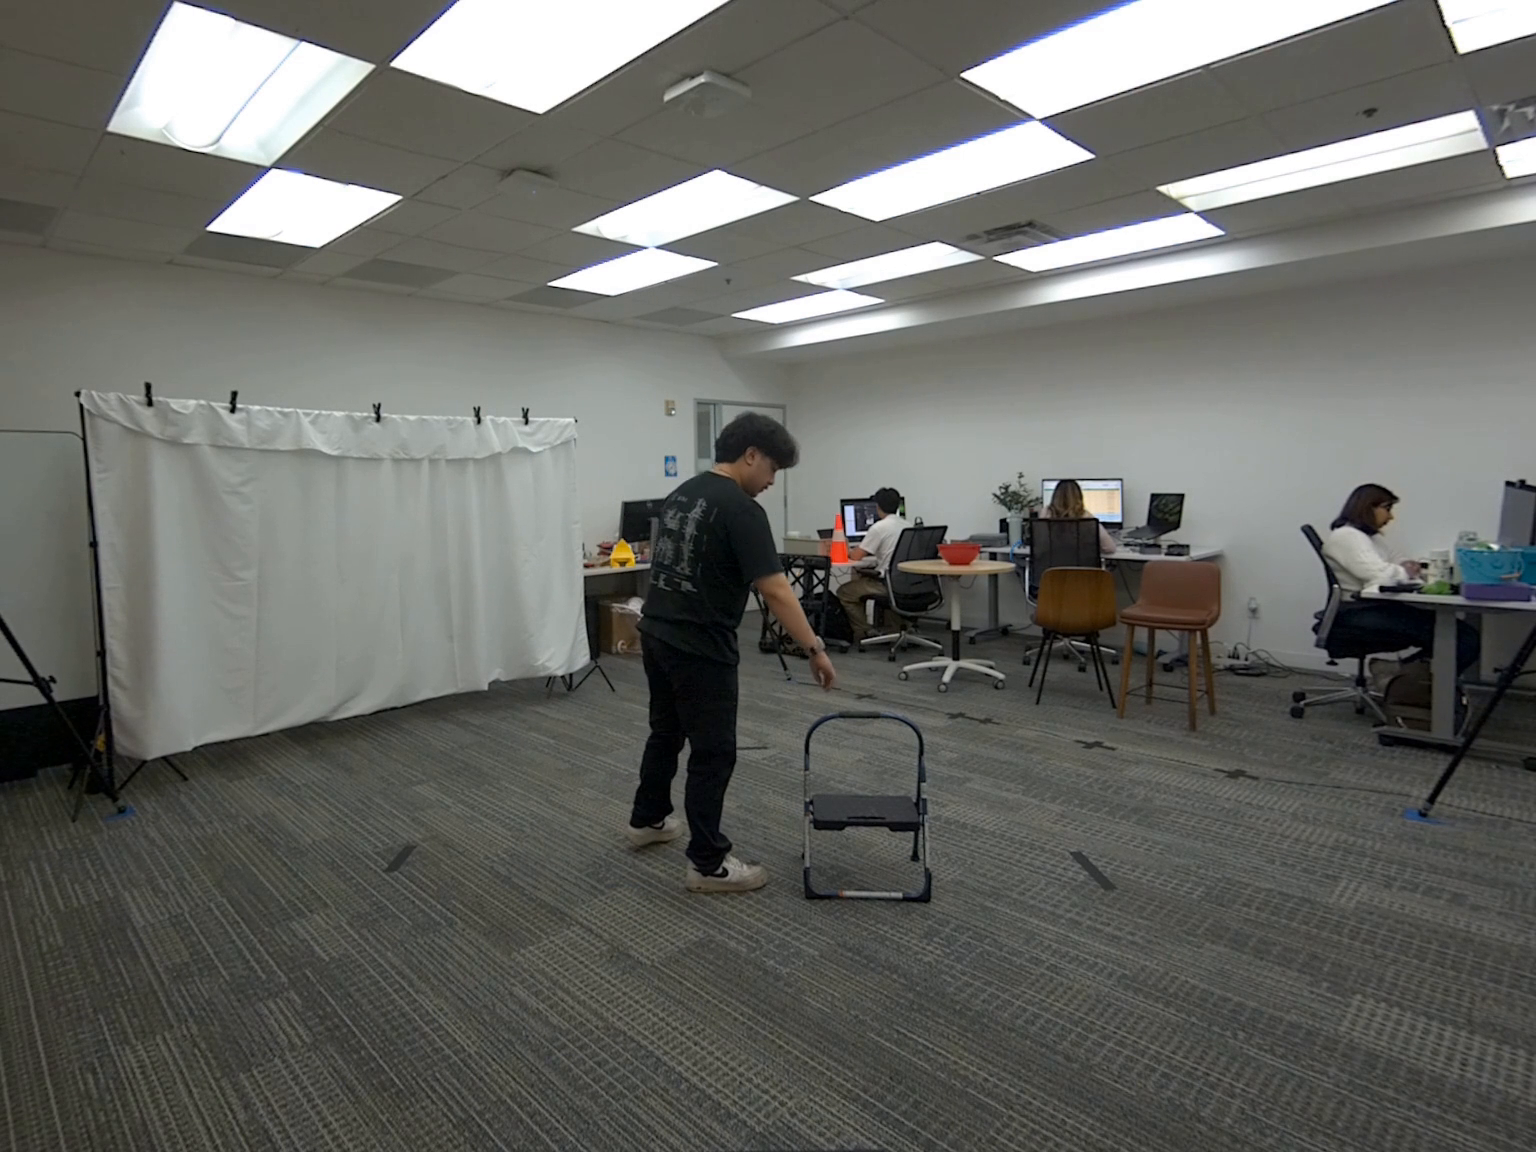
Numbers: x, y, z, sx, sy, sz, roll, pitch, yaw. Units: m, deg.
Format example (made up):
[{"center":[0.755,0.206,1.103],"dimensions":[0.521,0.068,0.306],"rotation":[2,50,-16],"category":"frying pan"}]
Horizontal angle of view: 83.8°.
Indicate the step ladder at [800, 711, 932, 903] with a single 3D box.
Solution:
[{"center":[0.329,0.746,2.958],"dimensions":[0.432,0.604,0.349],"rotation":[-1,4,3],"category":"step ladder"}]
